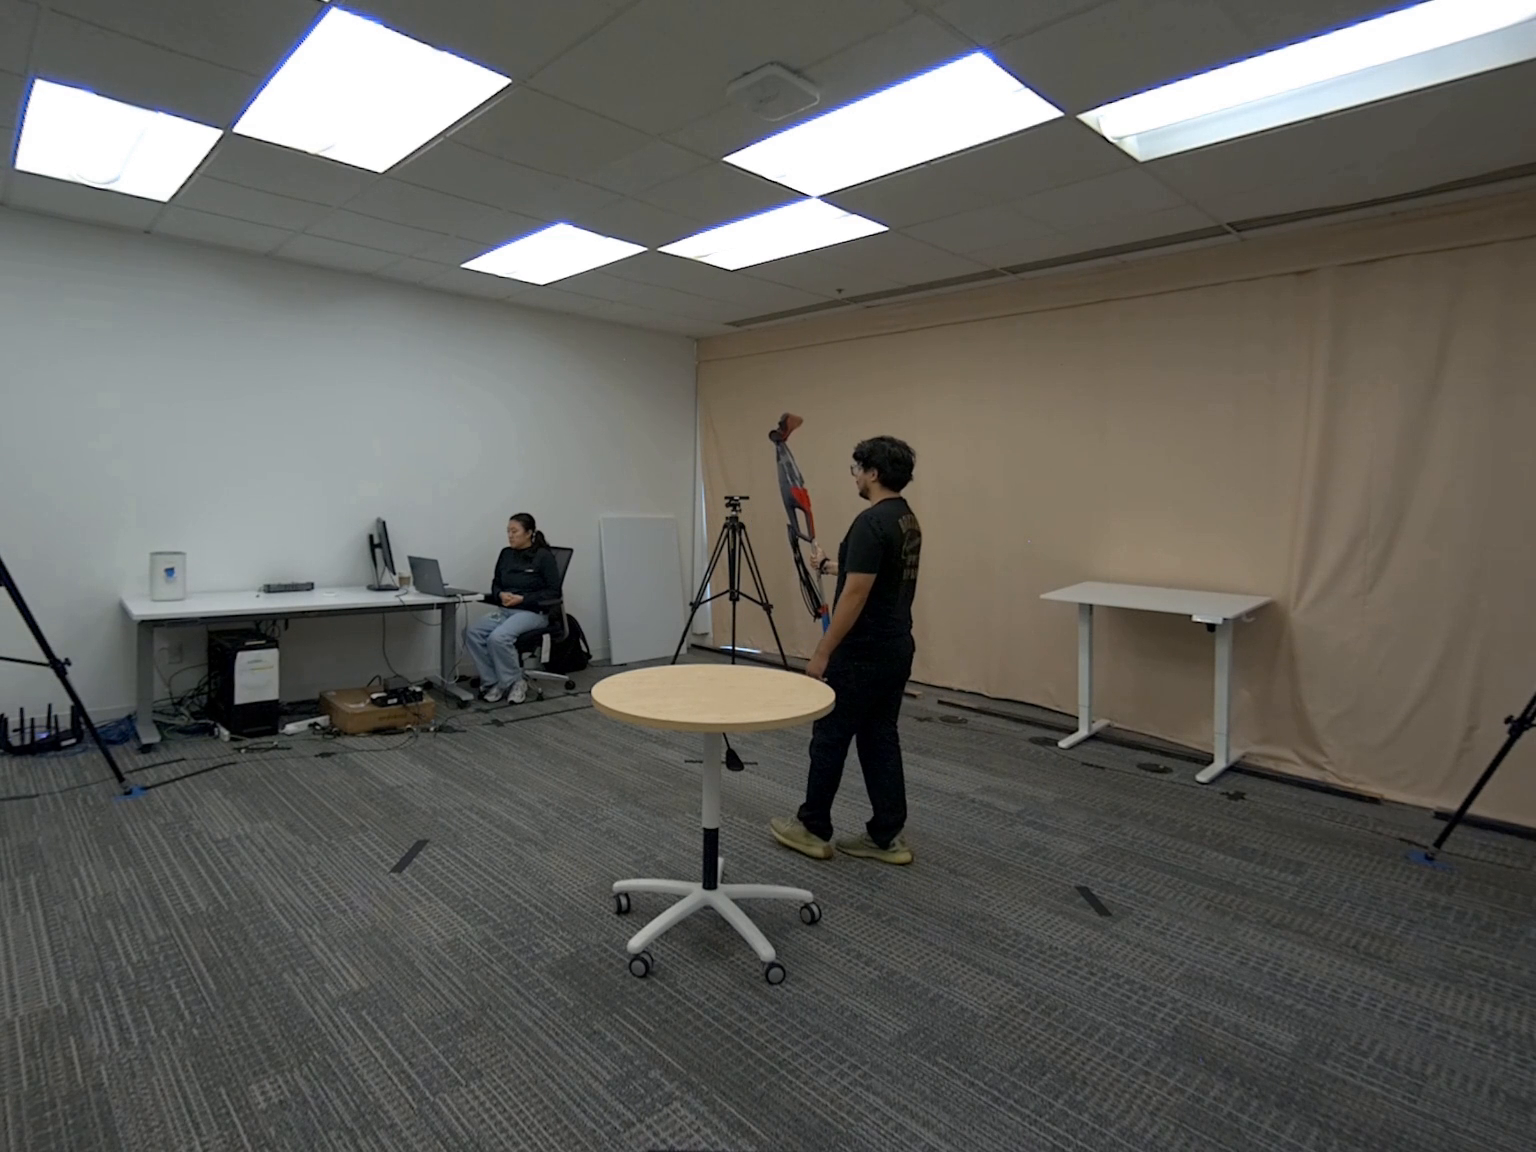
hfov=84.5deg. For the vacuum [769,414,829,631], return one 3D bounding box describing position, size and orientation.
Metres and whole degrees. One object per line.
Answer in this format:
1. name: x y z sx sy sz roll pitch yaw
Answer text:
1. vacuum: 0.147 -0.170 3.810 0.145 1.050 0.249 -9 0 17
